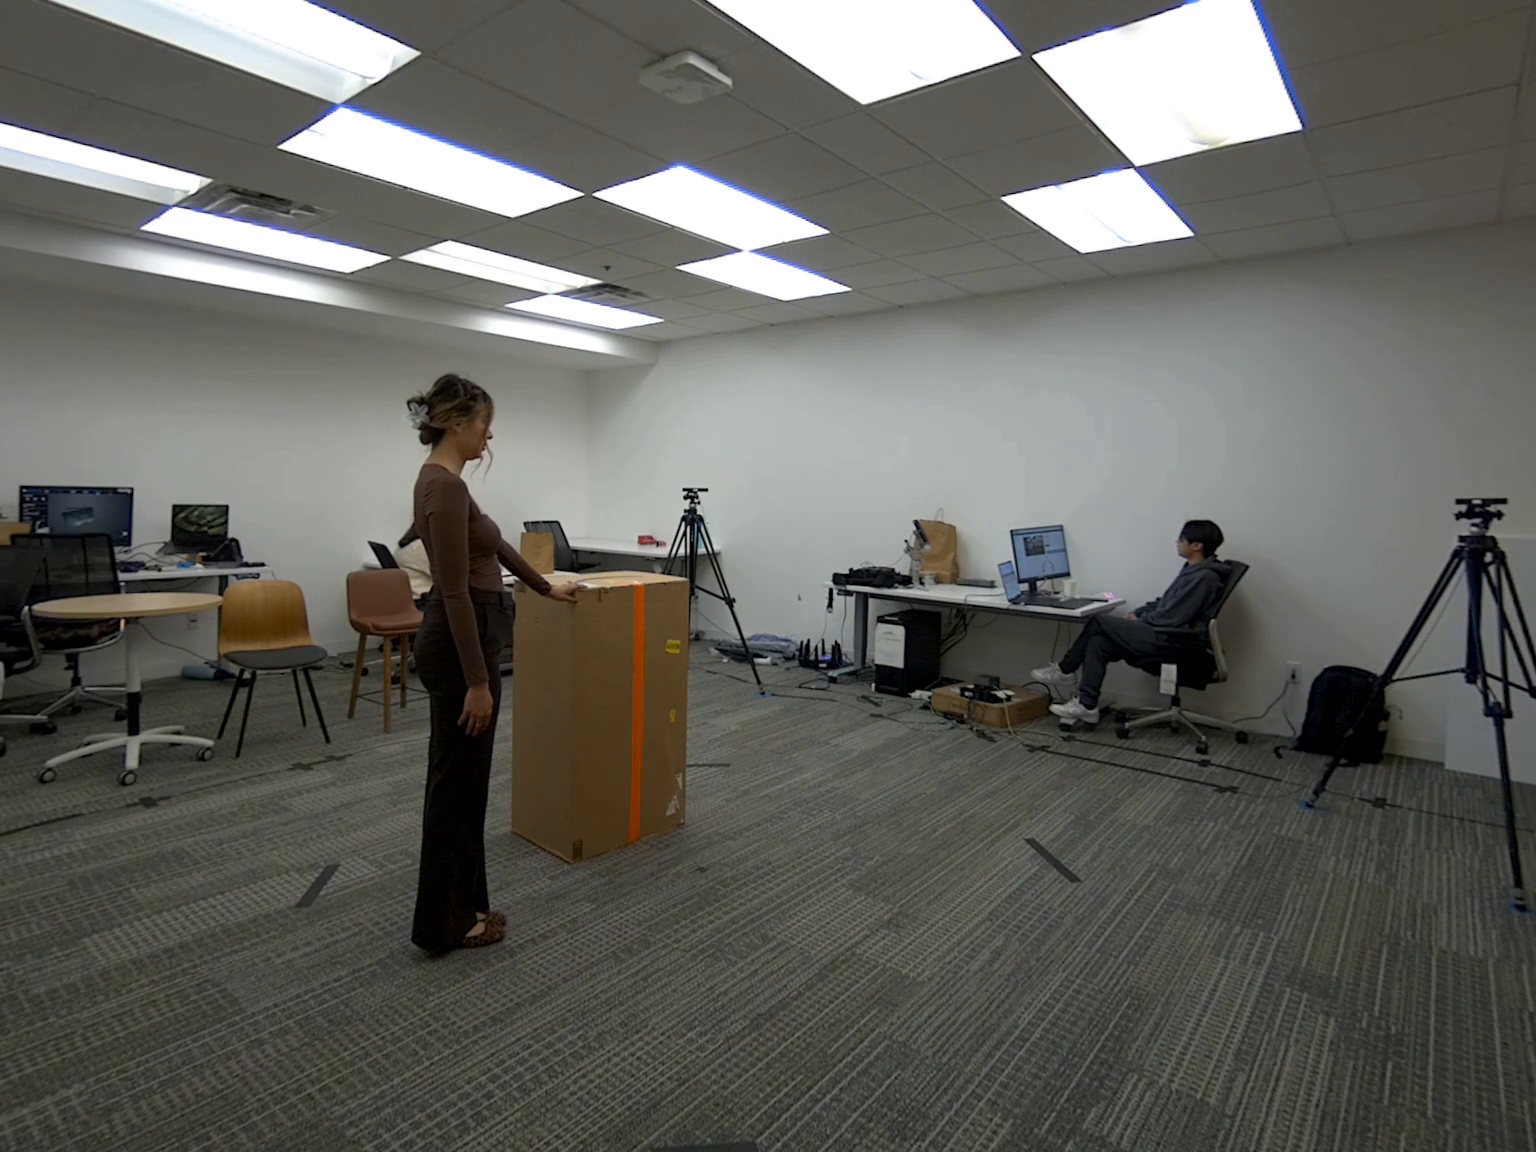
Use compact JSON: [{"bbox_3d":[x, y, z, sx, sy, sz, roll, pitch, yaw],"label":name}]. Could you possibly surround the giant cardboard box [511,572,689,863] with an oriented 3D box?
[{"bbox_3d":[-0.688,0.519,3.455,0.462,1.024,0.566,5,5,45],"label":"giant cardboard box"}]
